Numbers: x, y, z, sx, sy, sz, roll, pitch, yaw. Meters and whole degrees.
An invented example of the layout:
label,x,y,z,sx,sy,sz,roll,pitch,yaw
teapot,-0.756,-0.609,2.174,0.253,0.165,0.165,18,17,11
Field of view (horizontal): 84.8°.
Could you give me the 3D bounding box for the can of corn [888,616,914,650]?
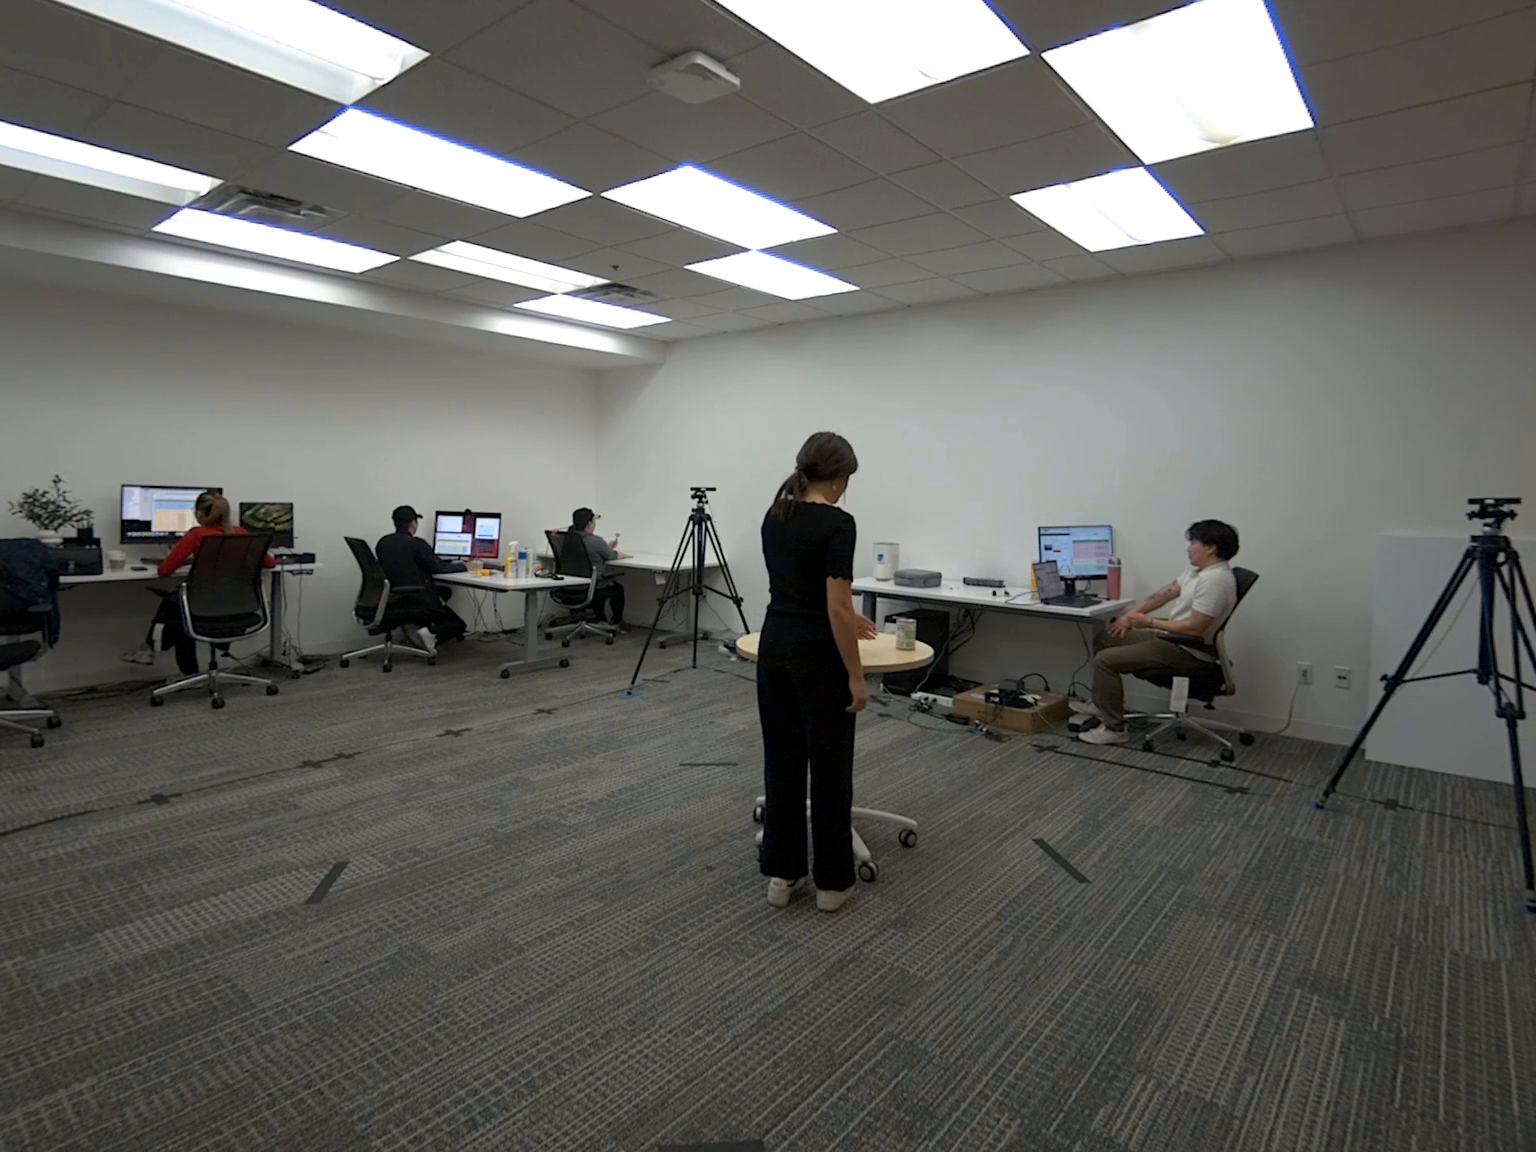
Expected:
label,x,y,z,sx,sy,sz,roll,pitch,yaw
can of corn,0.516,0.220,3.281,0.074,0.110,0.074,2,5,-2
